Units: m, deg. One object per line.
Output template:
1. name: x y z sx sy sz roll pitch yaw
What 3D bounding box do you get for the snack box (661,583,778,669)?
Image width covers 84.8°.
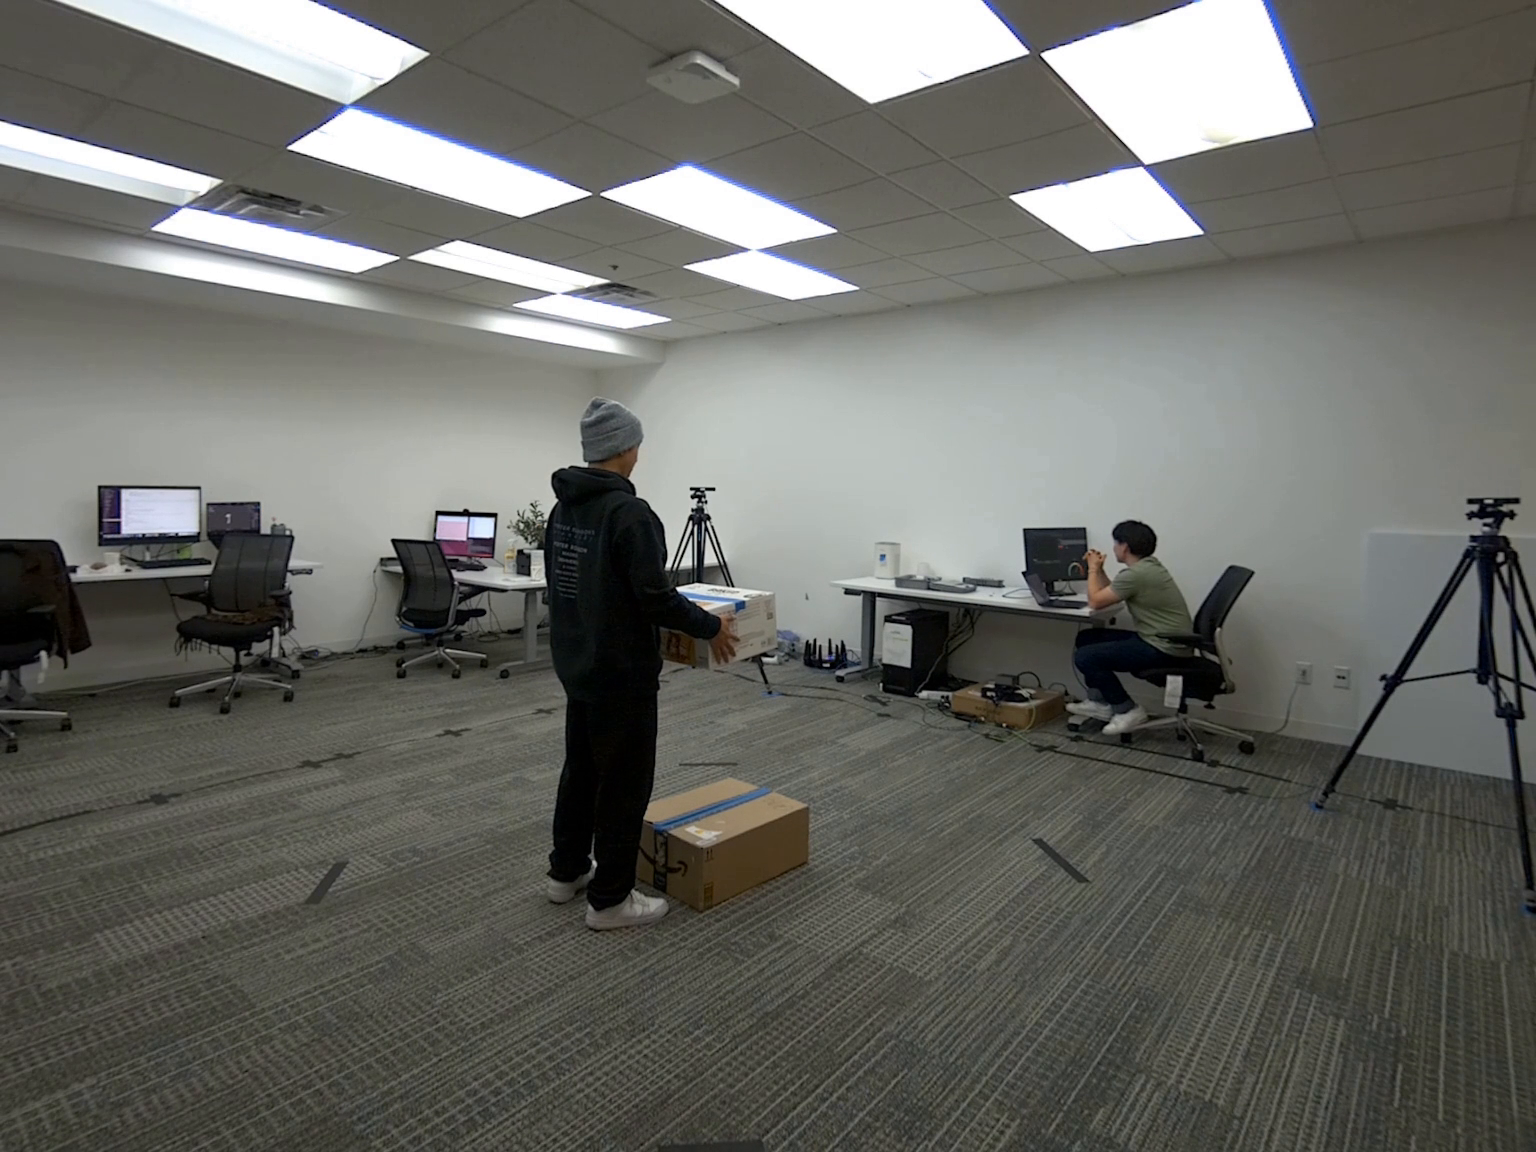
1. snack box: -0.242 0.167 3.032 0.419 0.204 0.332 5 13 44
